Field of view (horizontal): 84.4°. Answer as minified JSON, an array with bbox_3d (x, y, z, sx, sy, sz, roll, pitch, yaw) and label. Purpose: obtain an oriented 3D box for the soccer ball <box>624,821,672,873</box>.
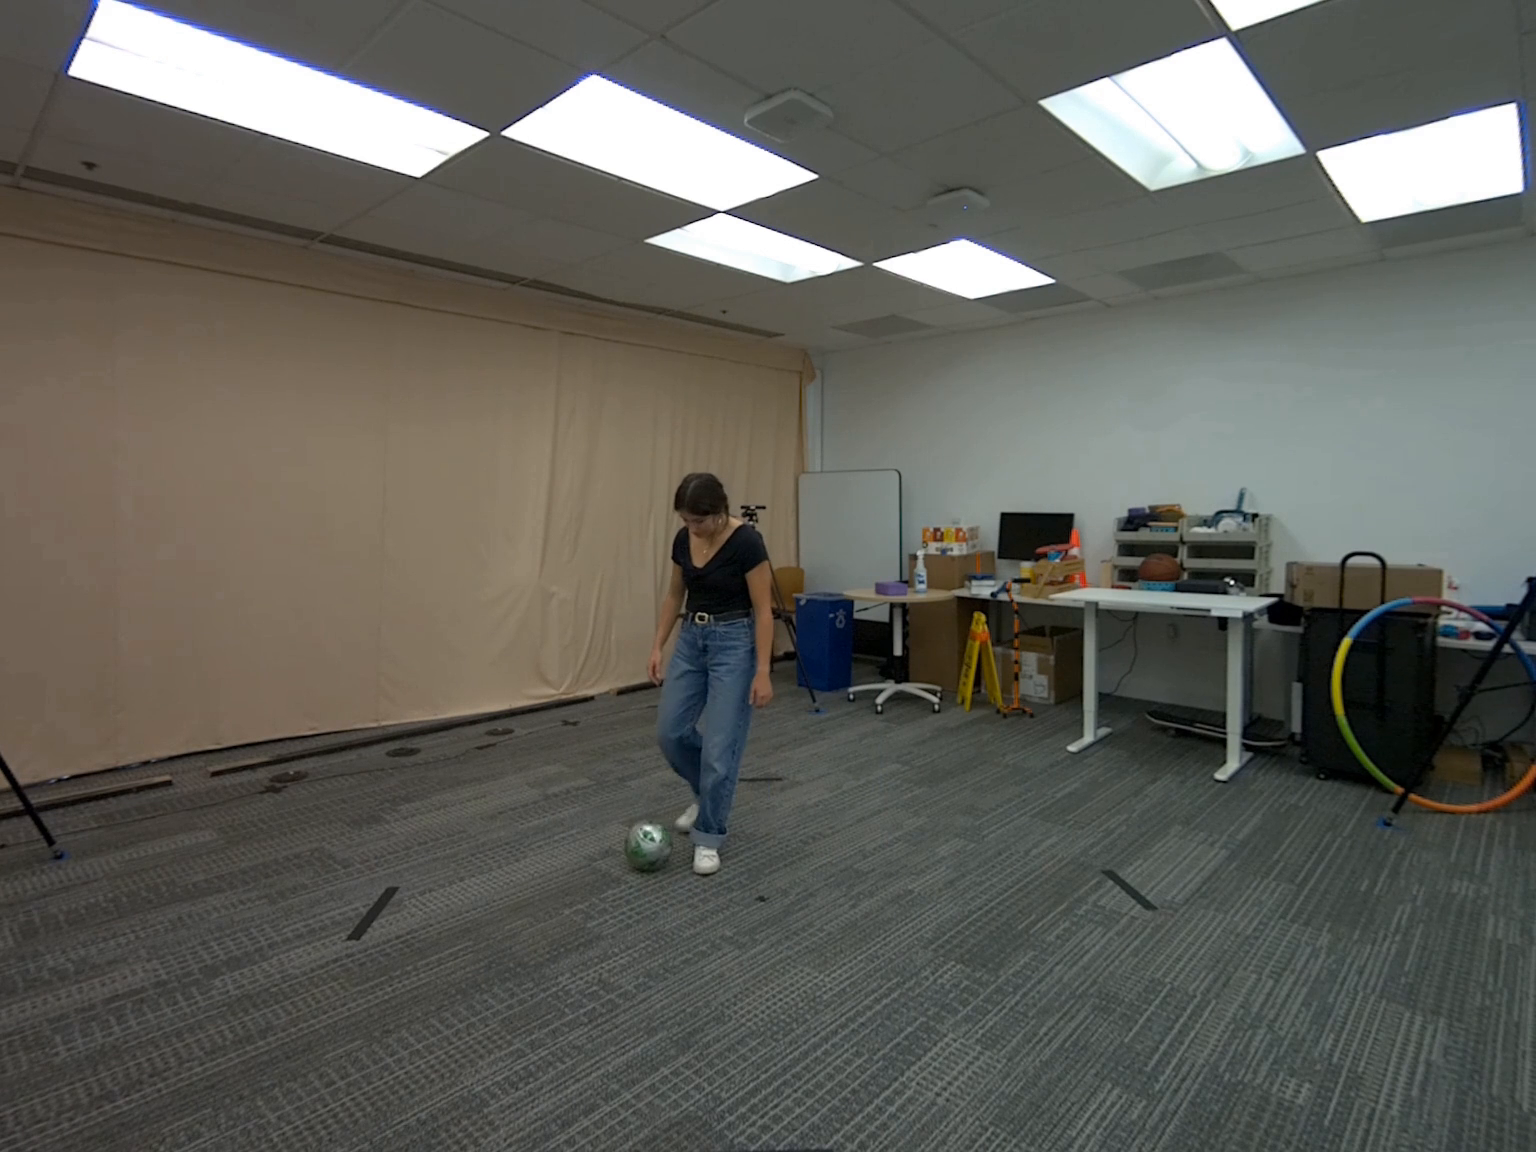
[{"bbox_3d":[-0.454,1.035,3.237,0.187,0.187,0.188,0,4,-2],"label":"soccer ball"}]
